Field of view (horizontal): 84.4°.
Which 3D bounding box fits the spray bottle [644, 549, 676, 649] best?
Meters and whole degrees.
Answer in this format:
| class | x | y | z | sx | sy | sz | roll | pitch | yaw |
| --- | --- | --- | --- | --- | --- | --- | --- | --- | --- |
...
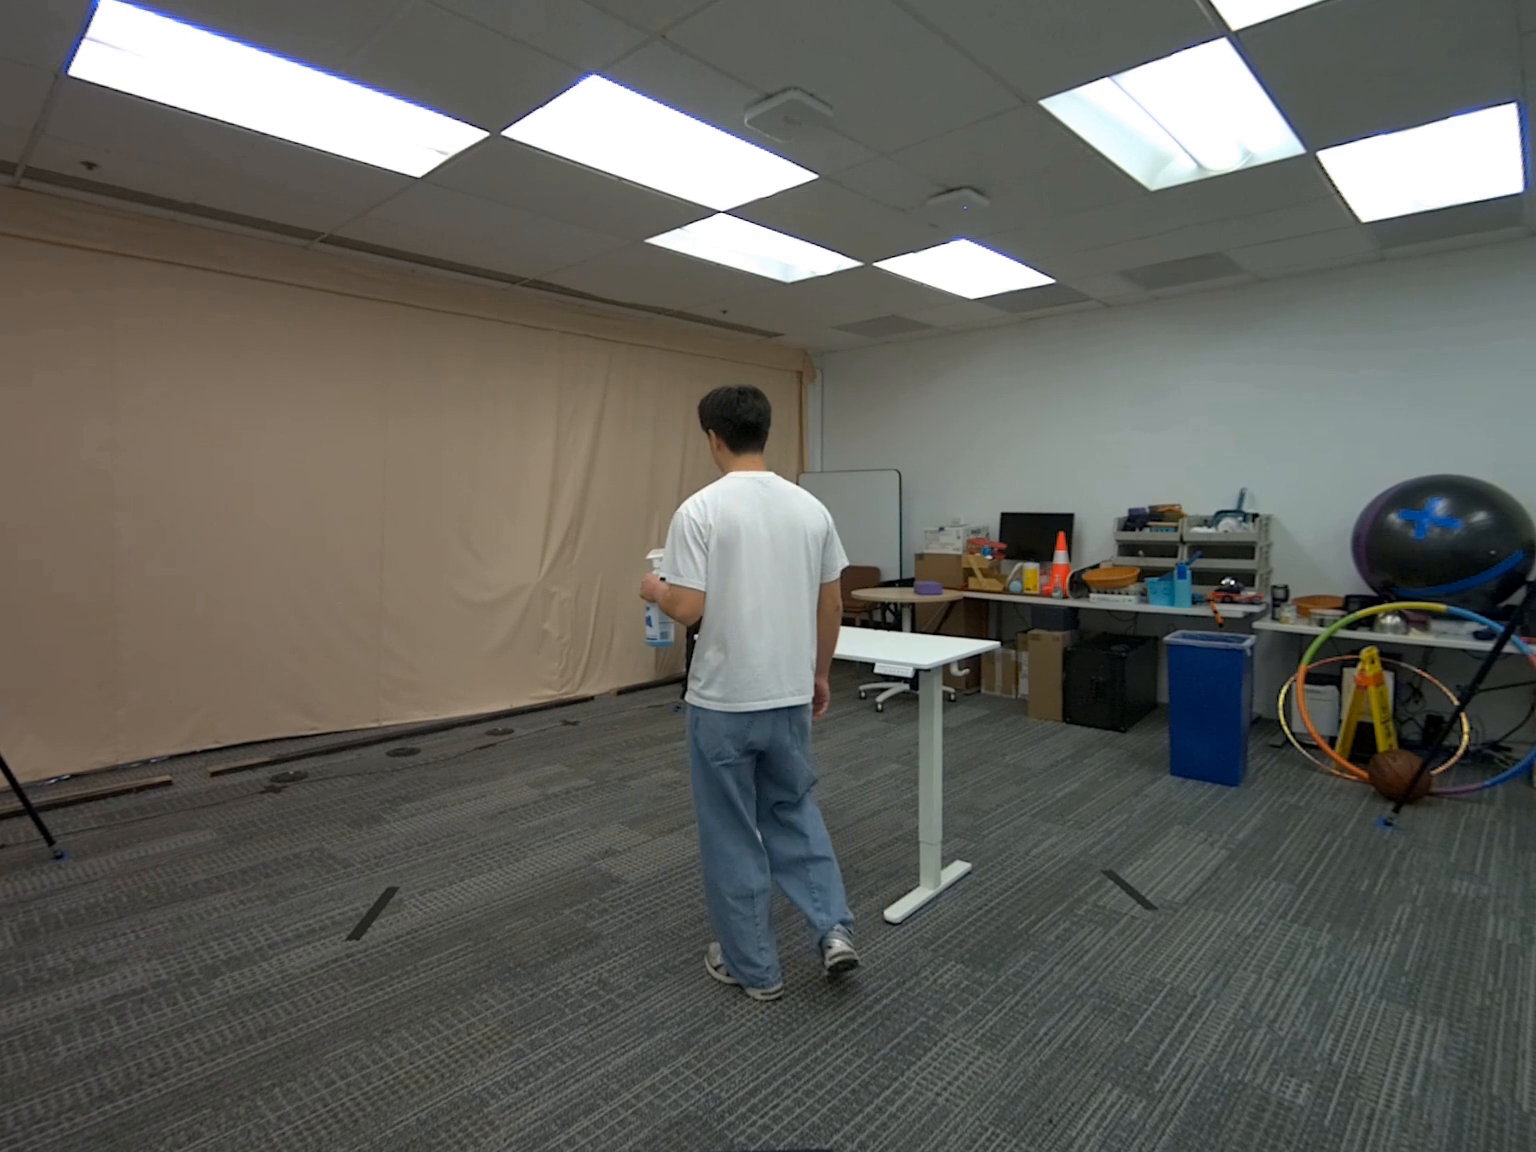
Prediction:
| class | x | y | z | sx | sy | sz | roll | pitch | yaw |
| --- | --- | --- | --- | --- | --- | --- | --- | --- | --- |
| spray bottle | -0.326 | 0.067 | 2.576 | 0.093 | 0.297 | 0.084 | 2 | 4 | 38 |
